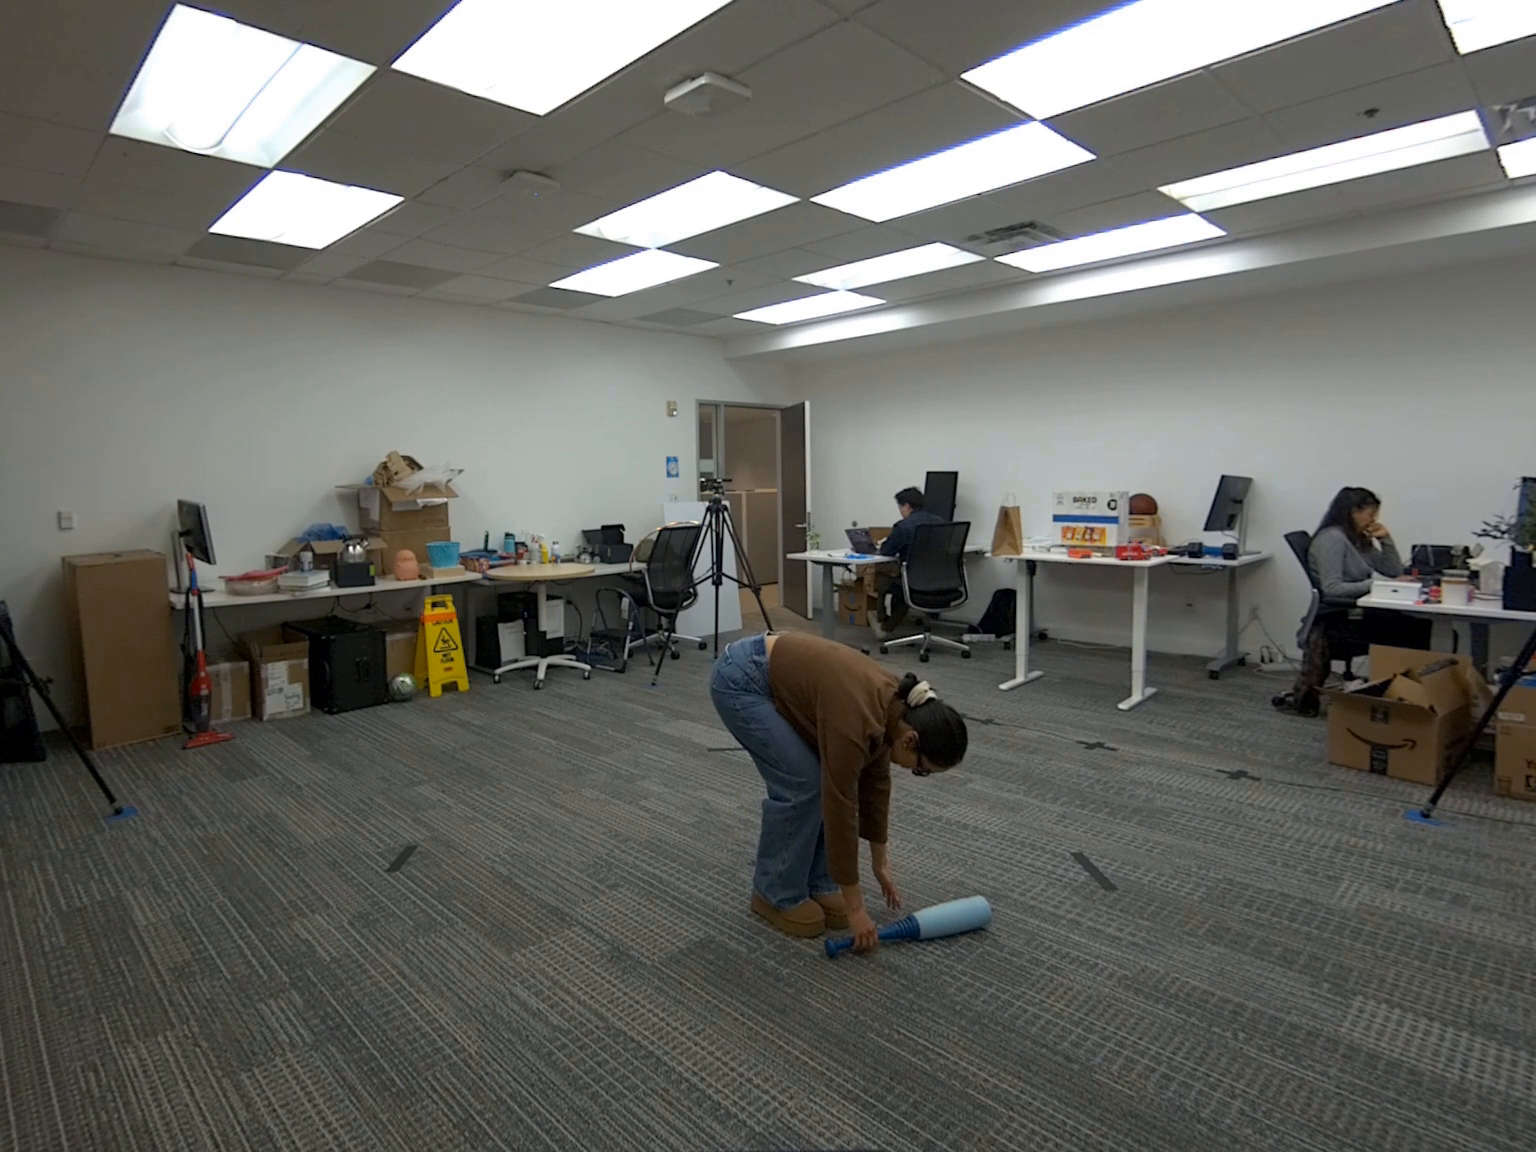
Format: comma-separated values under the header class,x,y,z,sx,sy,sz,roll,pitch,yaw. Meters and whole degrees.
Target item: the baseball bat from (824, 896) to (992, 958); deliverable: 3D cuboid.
class,x,y,z,sx,sy,sz,roll,pitch,yaw
baseball bat,0.426,1.047,2.568,0.535,0.089,0.091,-4,6,-16
